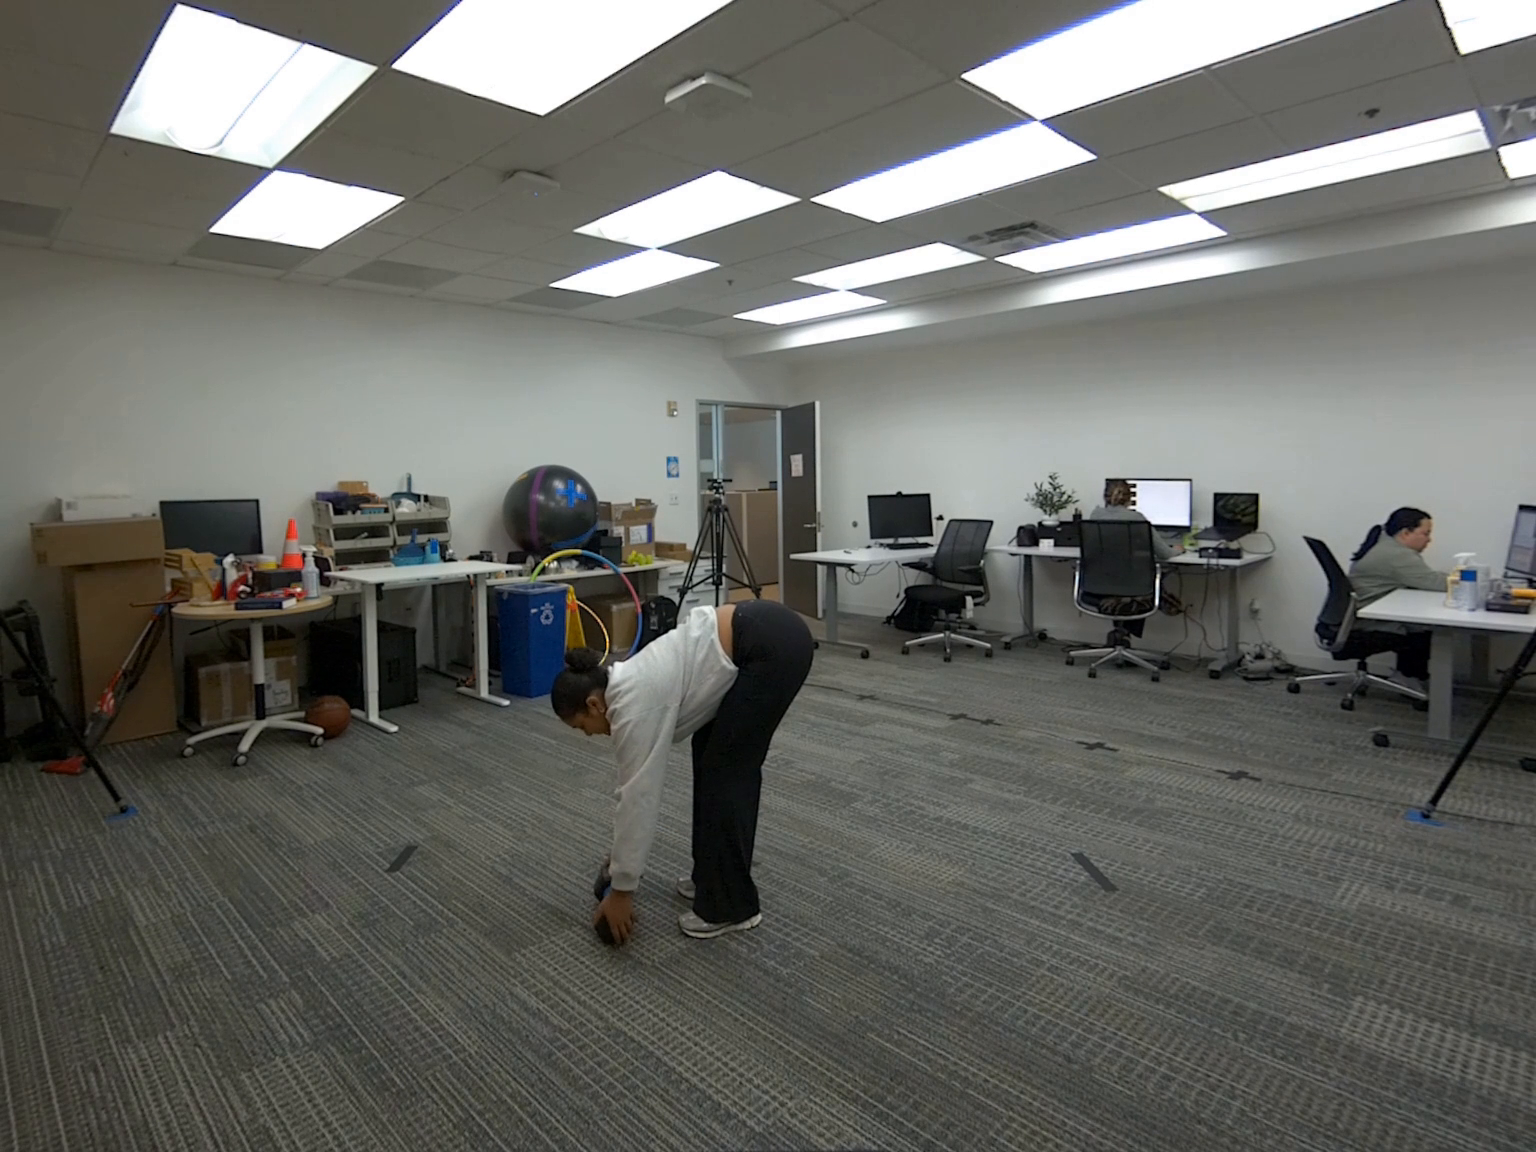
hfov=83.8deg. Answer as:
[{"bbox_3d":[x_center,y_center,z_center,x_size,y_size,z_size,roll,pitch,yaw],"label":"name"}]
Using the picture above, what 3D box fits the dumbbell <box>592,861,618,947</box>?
[{"bbox_3d":[-0.483,1.046,2.720,0.107,0.123,0.297,28,1,-11],"label":"dumbbell"}]
